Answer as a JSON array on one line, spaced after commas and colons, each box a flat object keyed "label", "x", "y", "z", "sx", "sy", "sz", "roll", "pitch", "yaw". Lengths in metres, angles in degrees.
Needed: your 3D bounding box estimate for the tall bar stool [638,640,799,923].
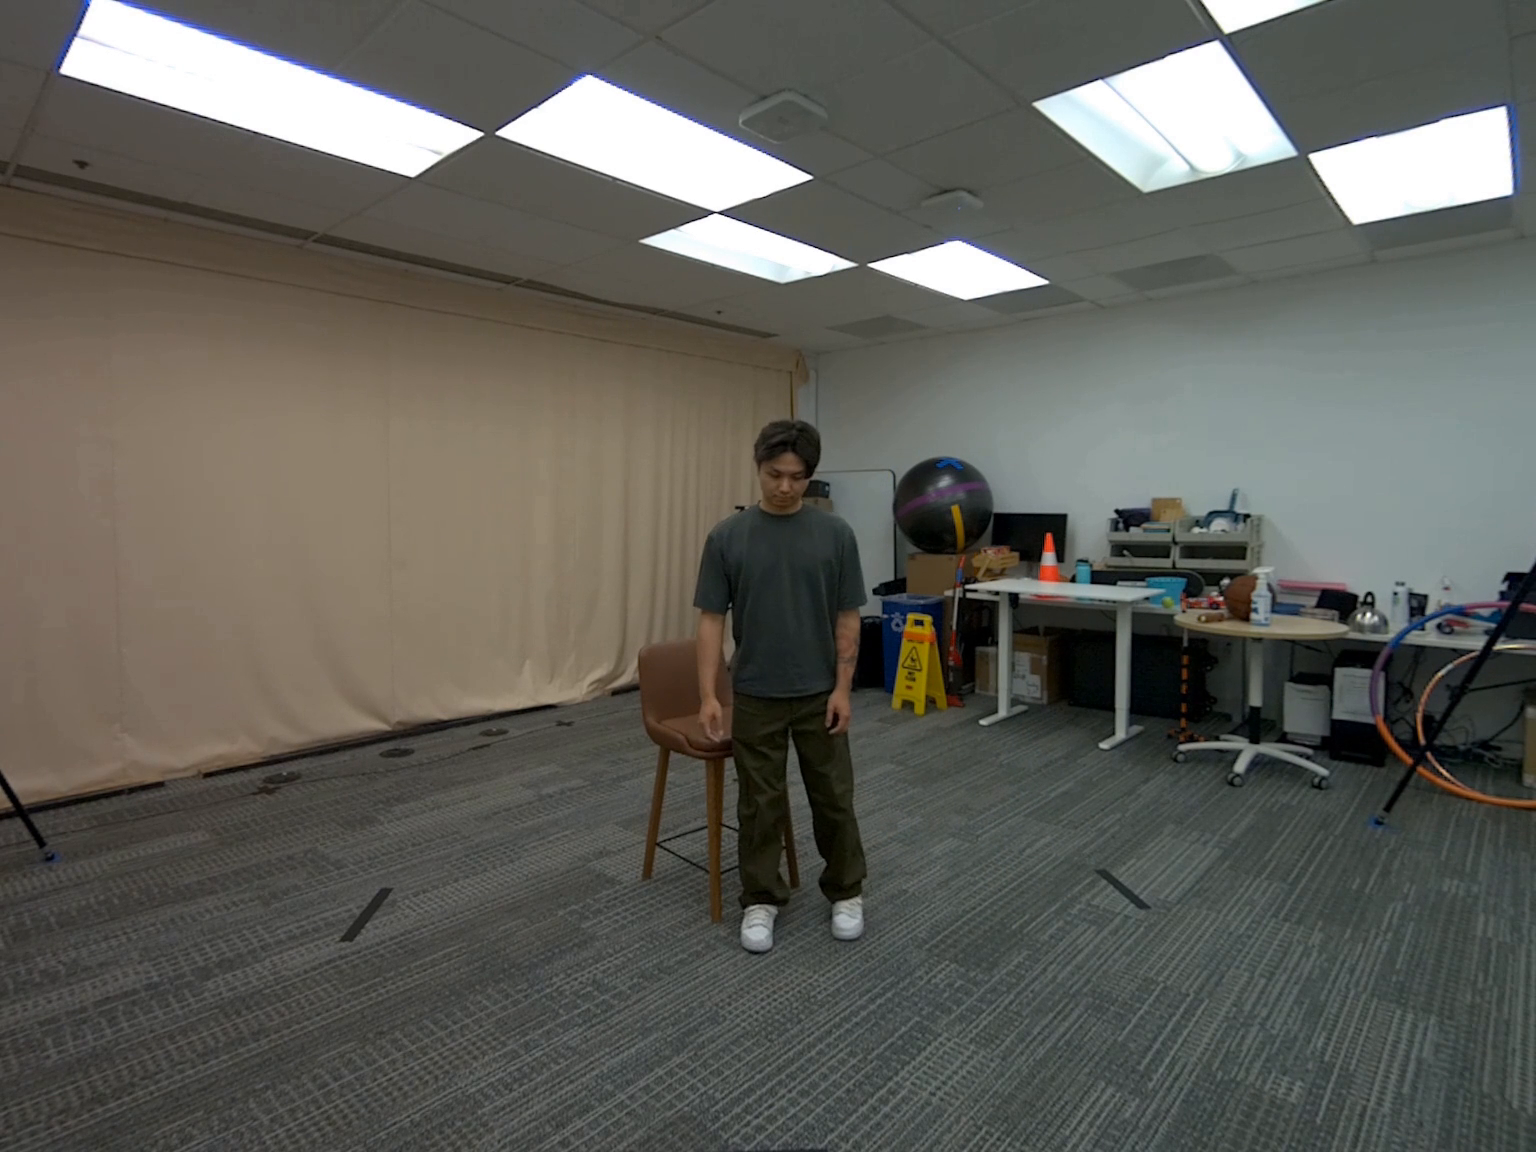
[{"label": "tall bar stool", "x": -0.192, "y": 0.697, "z": 3.092, "sx": 0.442, "sy": 0.888, "sz": 0.483, "roll": -4, "pitch": 3, "yaw": -42}]
